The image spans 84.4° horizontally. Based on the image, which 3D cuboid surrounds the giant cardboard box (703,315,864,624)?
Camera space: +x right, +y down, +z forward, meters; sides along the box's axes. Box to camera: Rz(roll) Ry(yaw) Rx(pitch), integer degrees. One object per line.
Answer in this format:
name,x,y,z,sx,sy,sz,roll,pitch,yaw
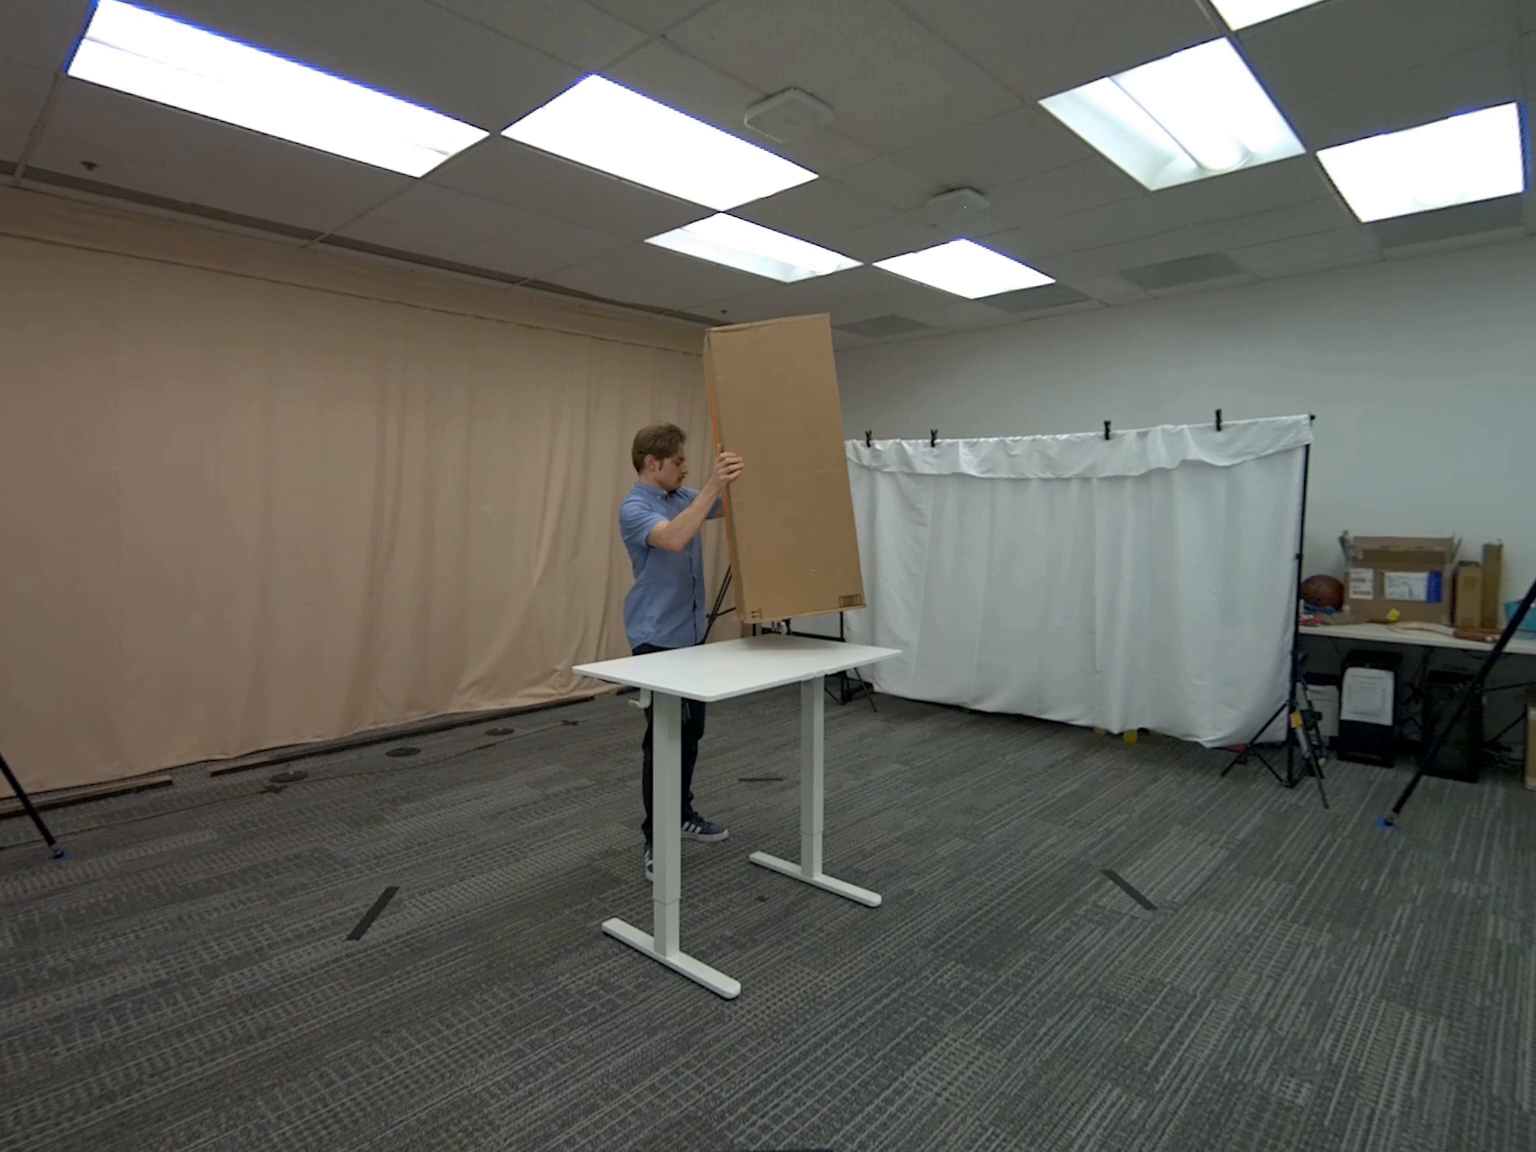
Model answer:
giant cardboard box,0.033,-0.378,3.164,0.425,1.024,0.580,-8,3,-3
